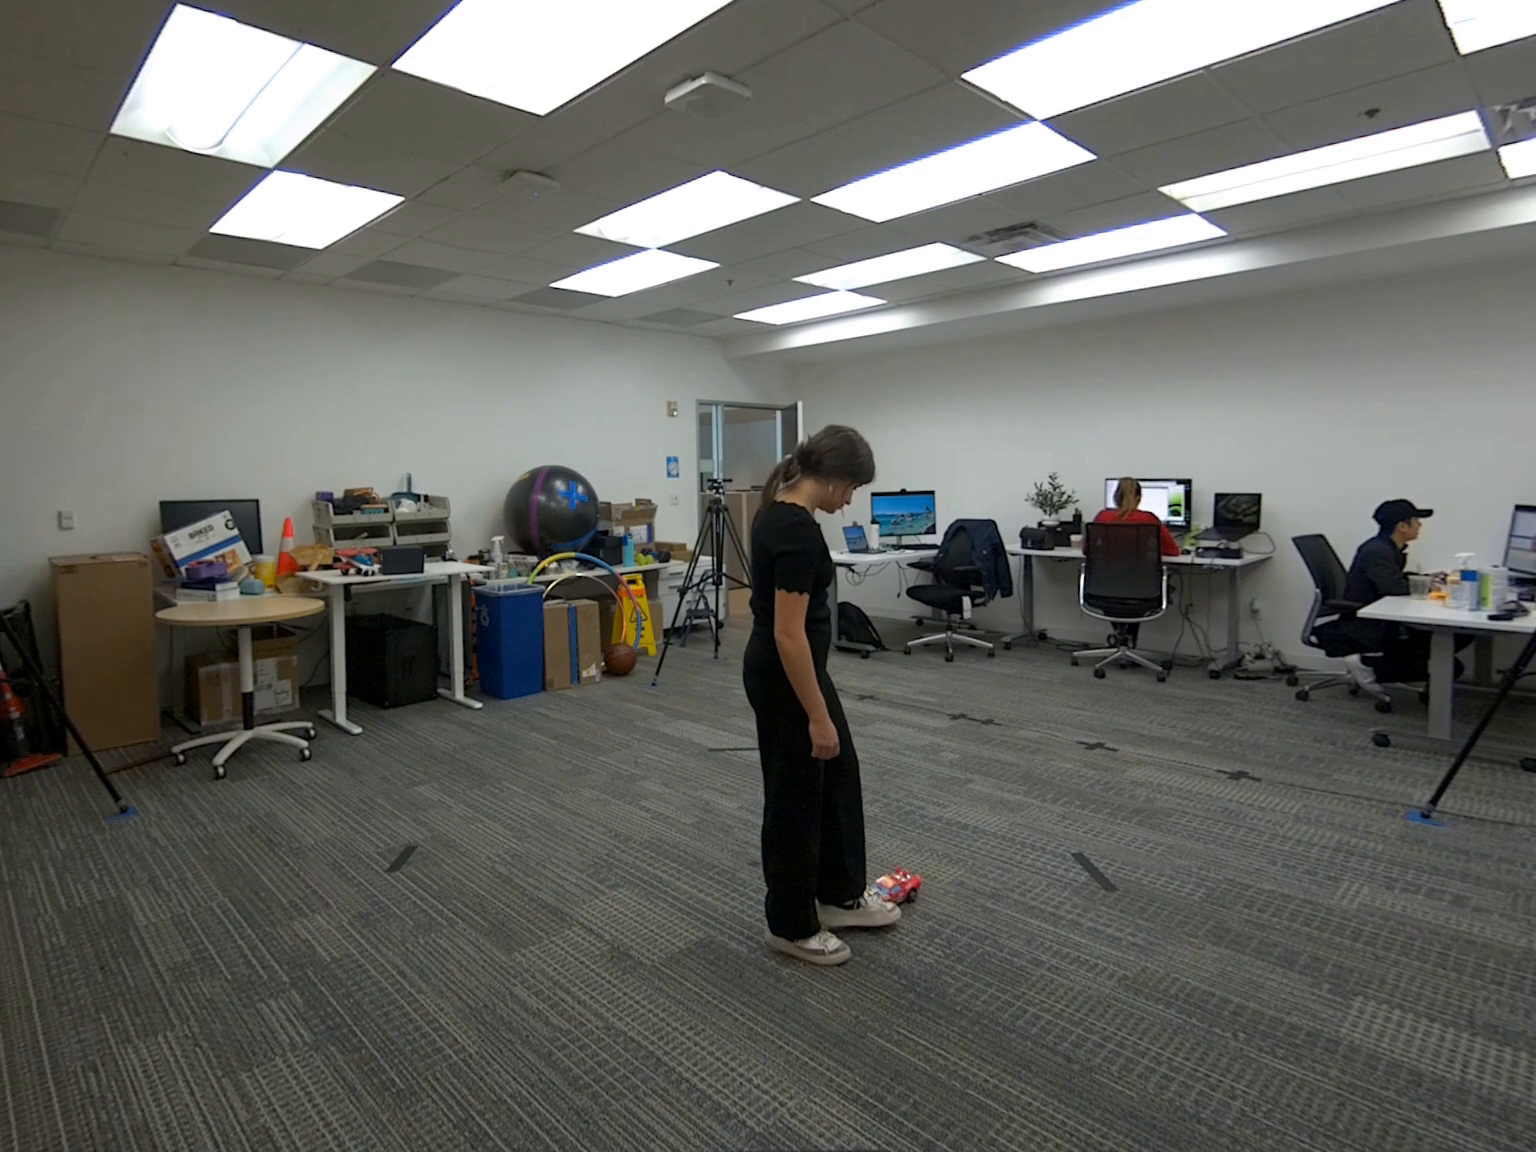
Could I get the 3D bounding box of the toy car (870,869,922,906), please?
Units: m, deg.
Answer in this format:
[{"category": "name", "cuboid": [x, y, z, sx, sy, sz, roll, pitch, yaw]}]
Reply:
[{"category": "toy car", "cuboid": [0.406, 1.038, 2.808, 0.250, 0.082, 0.134, -21, 17, -36]}]
